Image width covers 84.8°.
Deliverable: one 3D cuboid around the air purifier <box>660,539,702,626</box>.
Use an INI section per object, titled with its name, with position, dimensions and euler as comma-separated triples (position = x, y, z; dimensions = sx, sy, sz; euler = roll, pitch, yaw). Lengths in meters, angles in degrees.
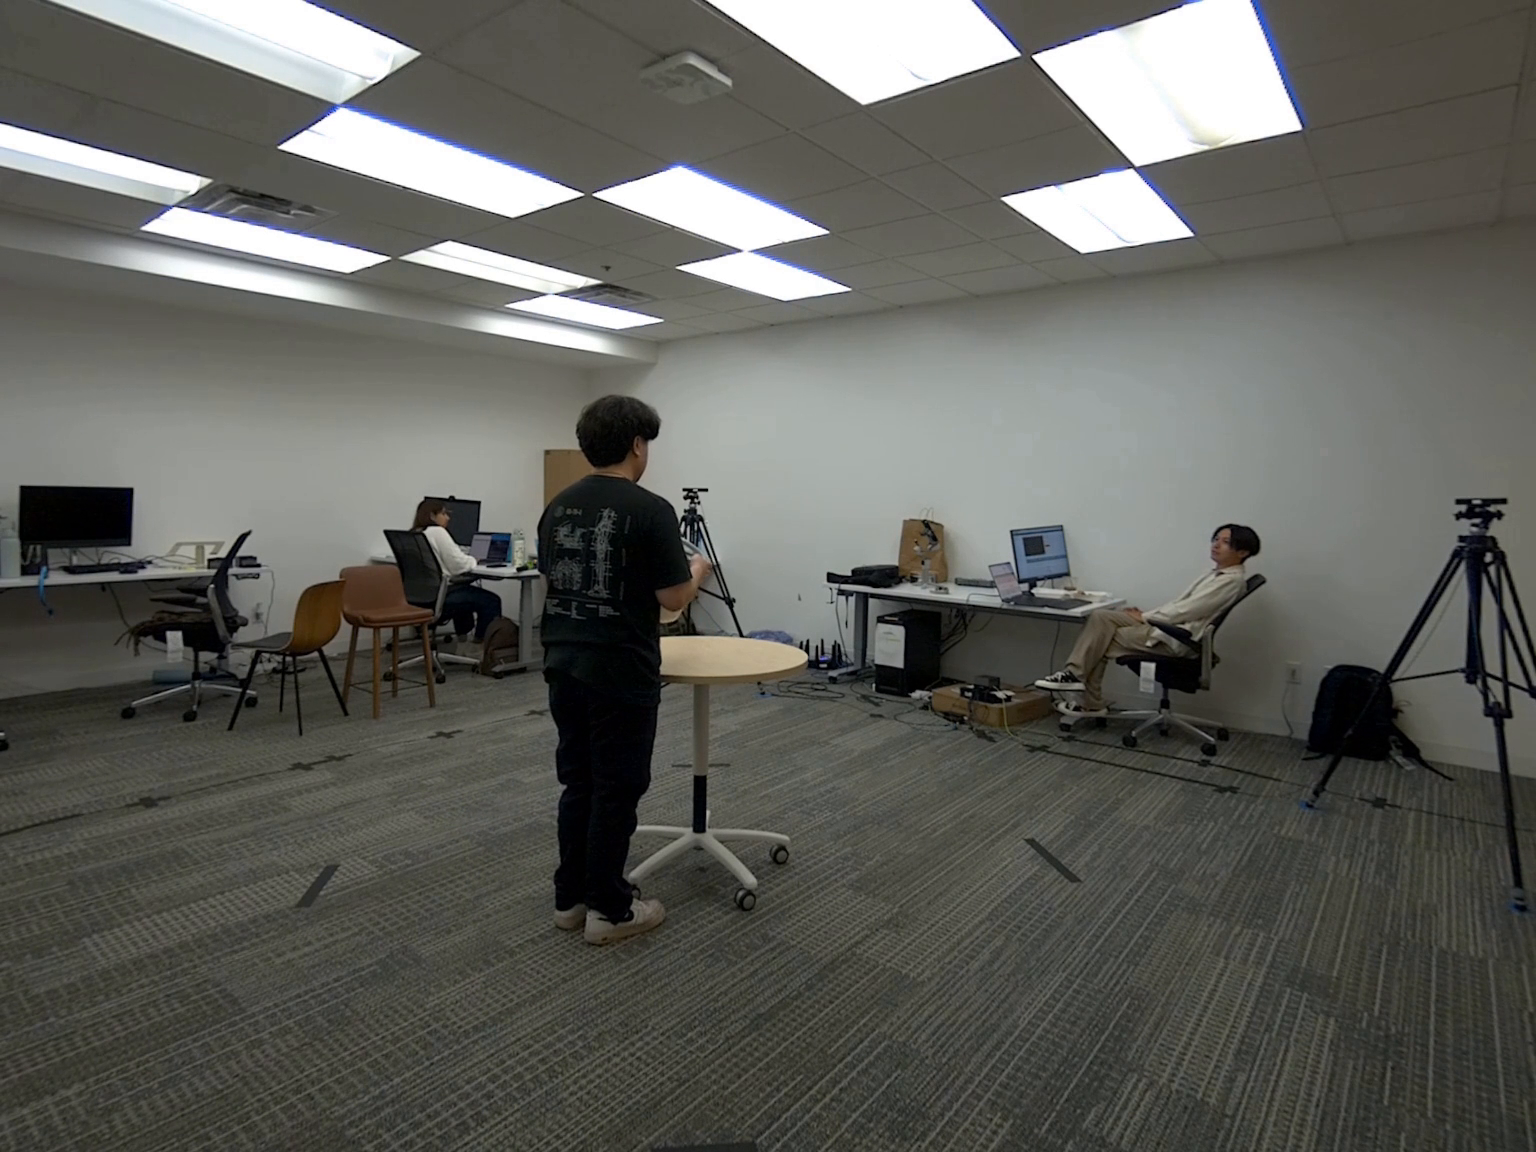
[air purifier]
position = -0.356, 0.011, 2.933
dimensions = 0.176, 0.264, 0.167
euler = 36, 15, 22
